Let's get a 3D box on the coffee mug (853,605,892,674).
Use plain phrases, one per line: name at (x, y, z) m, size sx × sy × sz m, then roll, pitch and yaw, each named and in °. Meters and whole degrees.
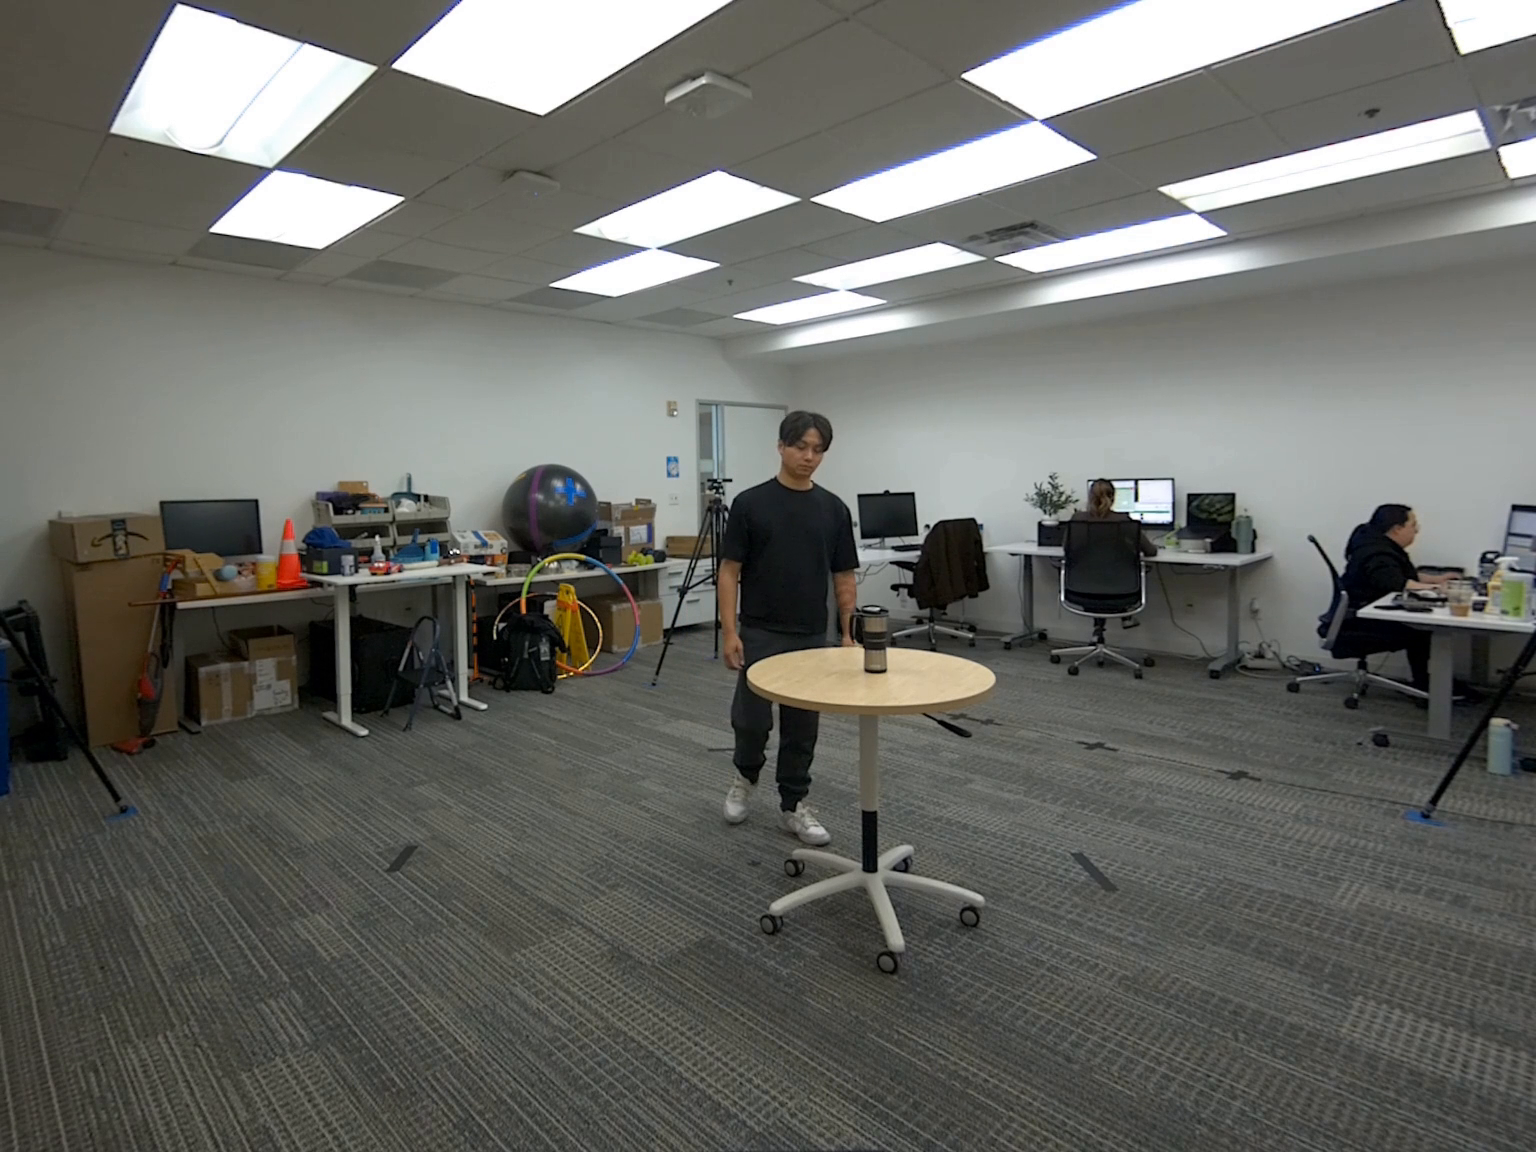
coffee mug at (0.324, 0.203, 2.711) m, size 0.126 × 0.201 × 0.086 m, roll 6°, pitch 11°, yaw 42°
